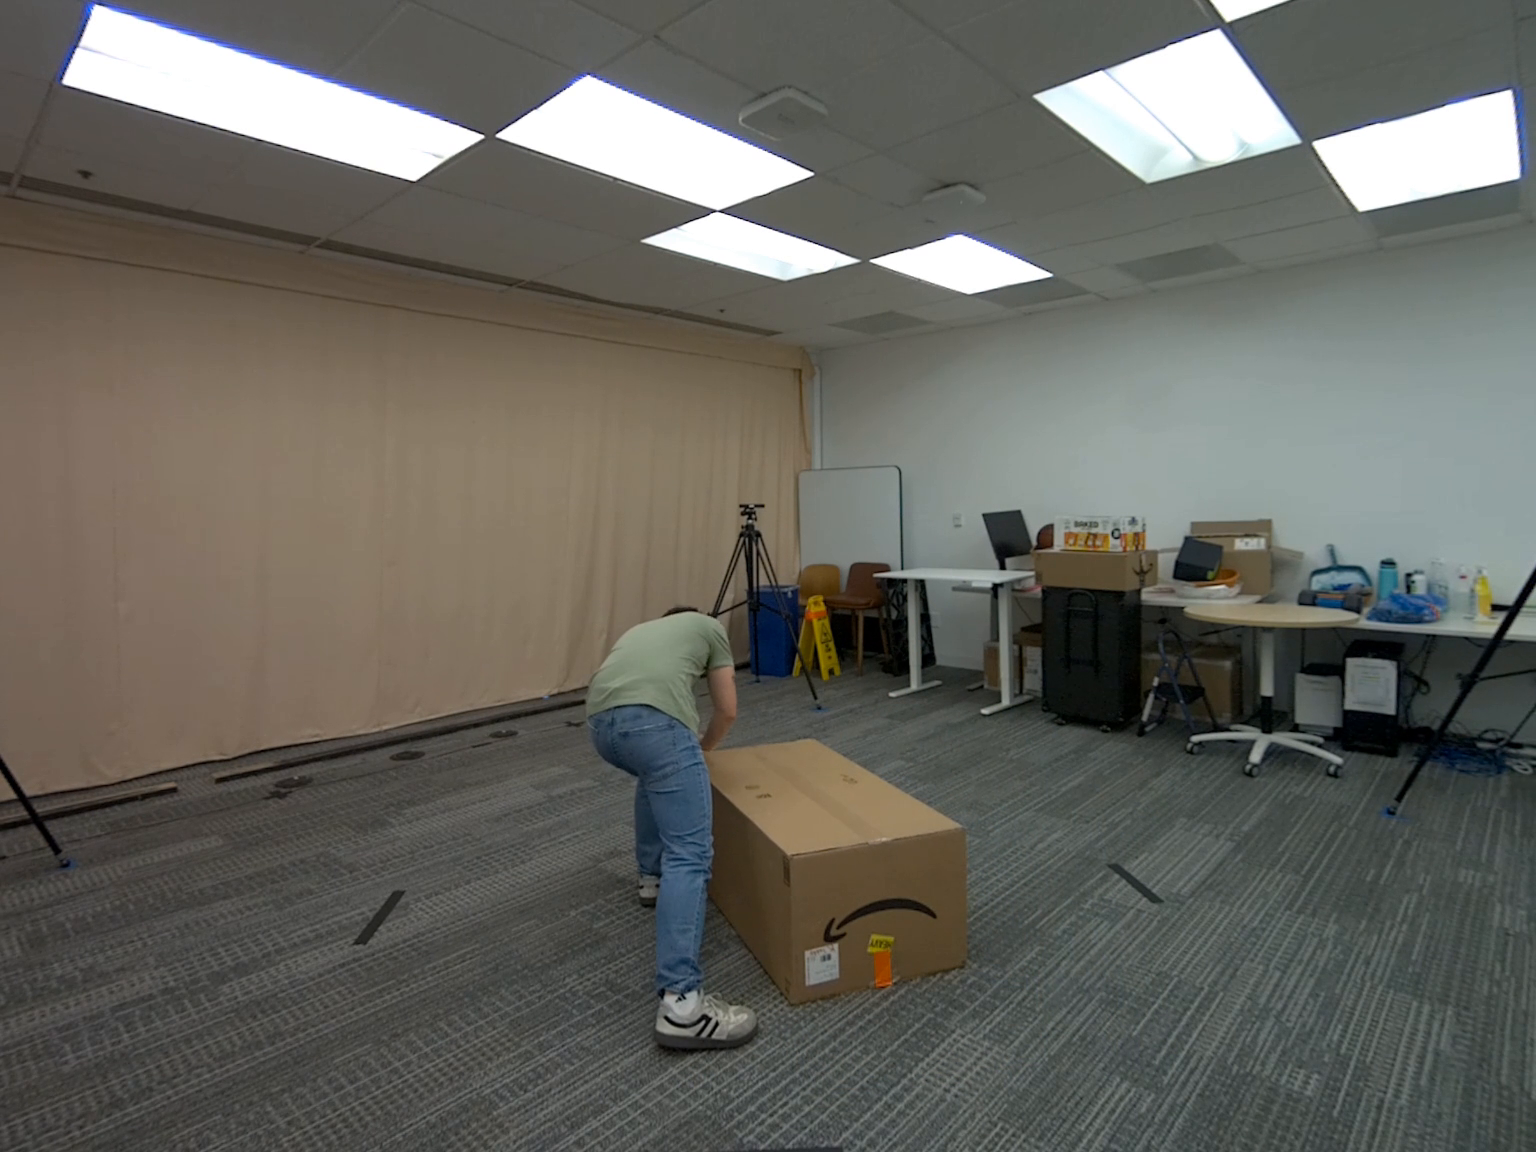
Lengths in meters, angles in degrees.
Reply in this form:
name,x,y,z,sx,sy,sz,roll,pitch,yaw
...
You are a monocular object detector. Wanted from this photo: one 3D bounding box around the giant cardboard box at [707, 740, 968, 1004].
name,x,y,z,sx,sy,sz,roll,pitch,yaw
giant cardboard box,0.138,0.932,2.886,0.566,0.425,1.049,-3,5,-21
